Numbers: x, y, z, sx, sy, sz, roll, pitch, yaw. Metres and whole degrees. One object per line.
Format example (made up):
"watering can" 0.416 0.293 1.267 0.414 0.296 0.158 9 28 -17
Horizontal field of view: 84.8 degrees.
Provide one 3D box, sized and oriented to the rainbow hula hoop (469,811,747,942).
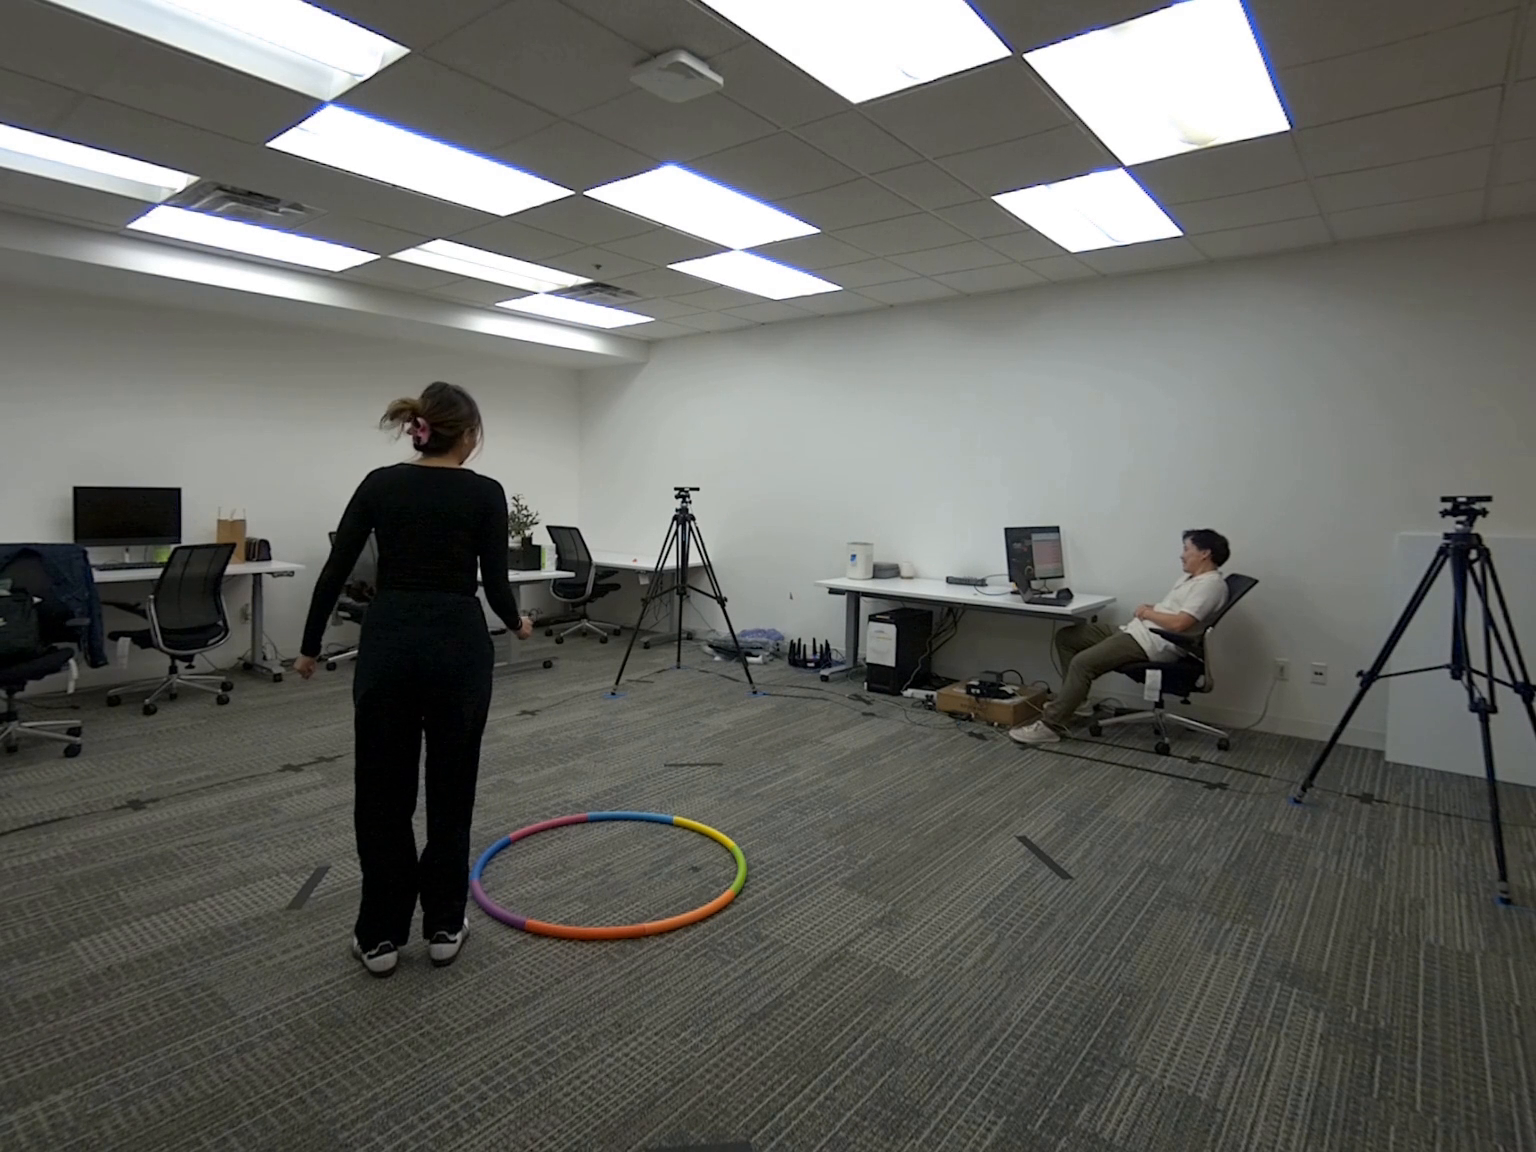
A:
"rainbow hula hoop" -0.575 1.035 3.083 0.978 0.035 0.984 1 6 -2
